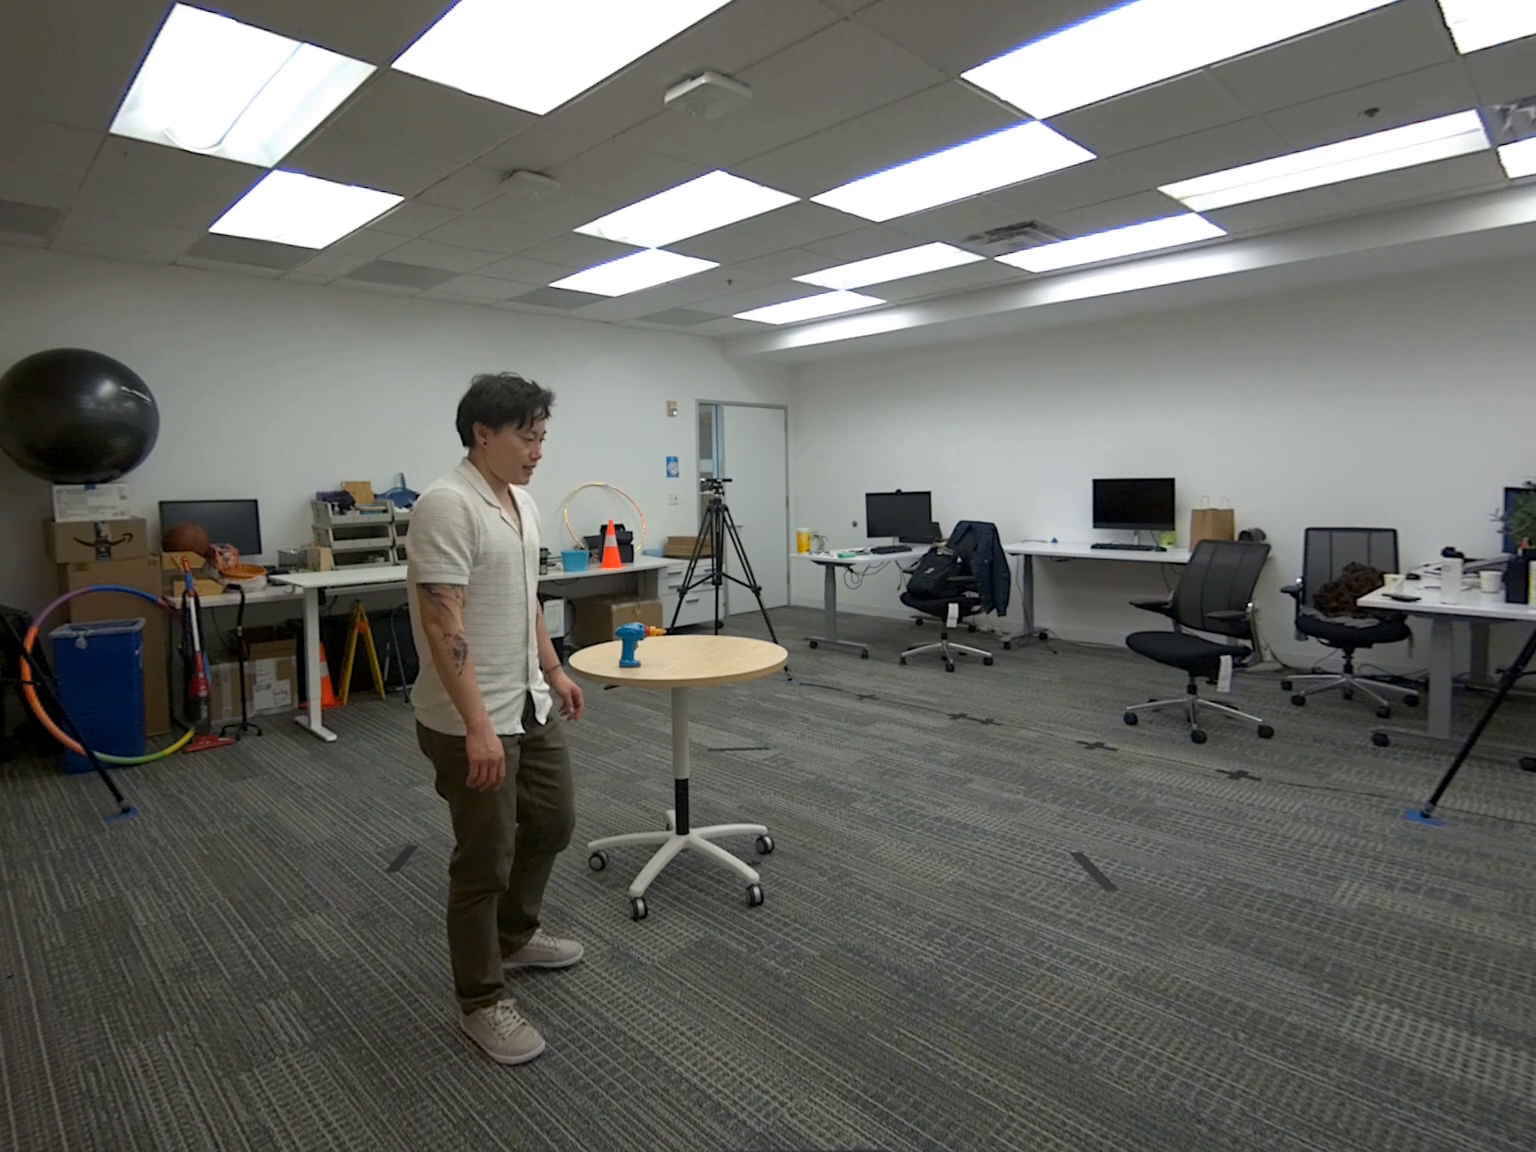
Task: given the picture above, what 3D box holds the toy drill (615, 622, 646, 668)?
[{"bbox_3d":[-0.423,0.223,2.834,0.168,0.146,0.062,-3,0,-9],"label":"toy drill"}]
